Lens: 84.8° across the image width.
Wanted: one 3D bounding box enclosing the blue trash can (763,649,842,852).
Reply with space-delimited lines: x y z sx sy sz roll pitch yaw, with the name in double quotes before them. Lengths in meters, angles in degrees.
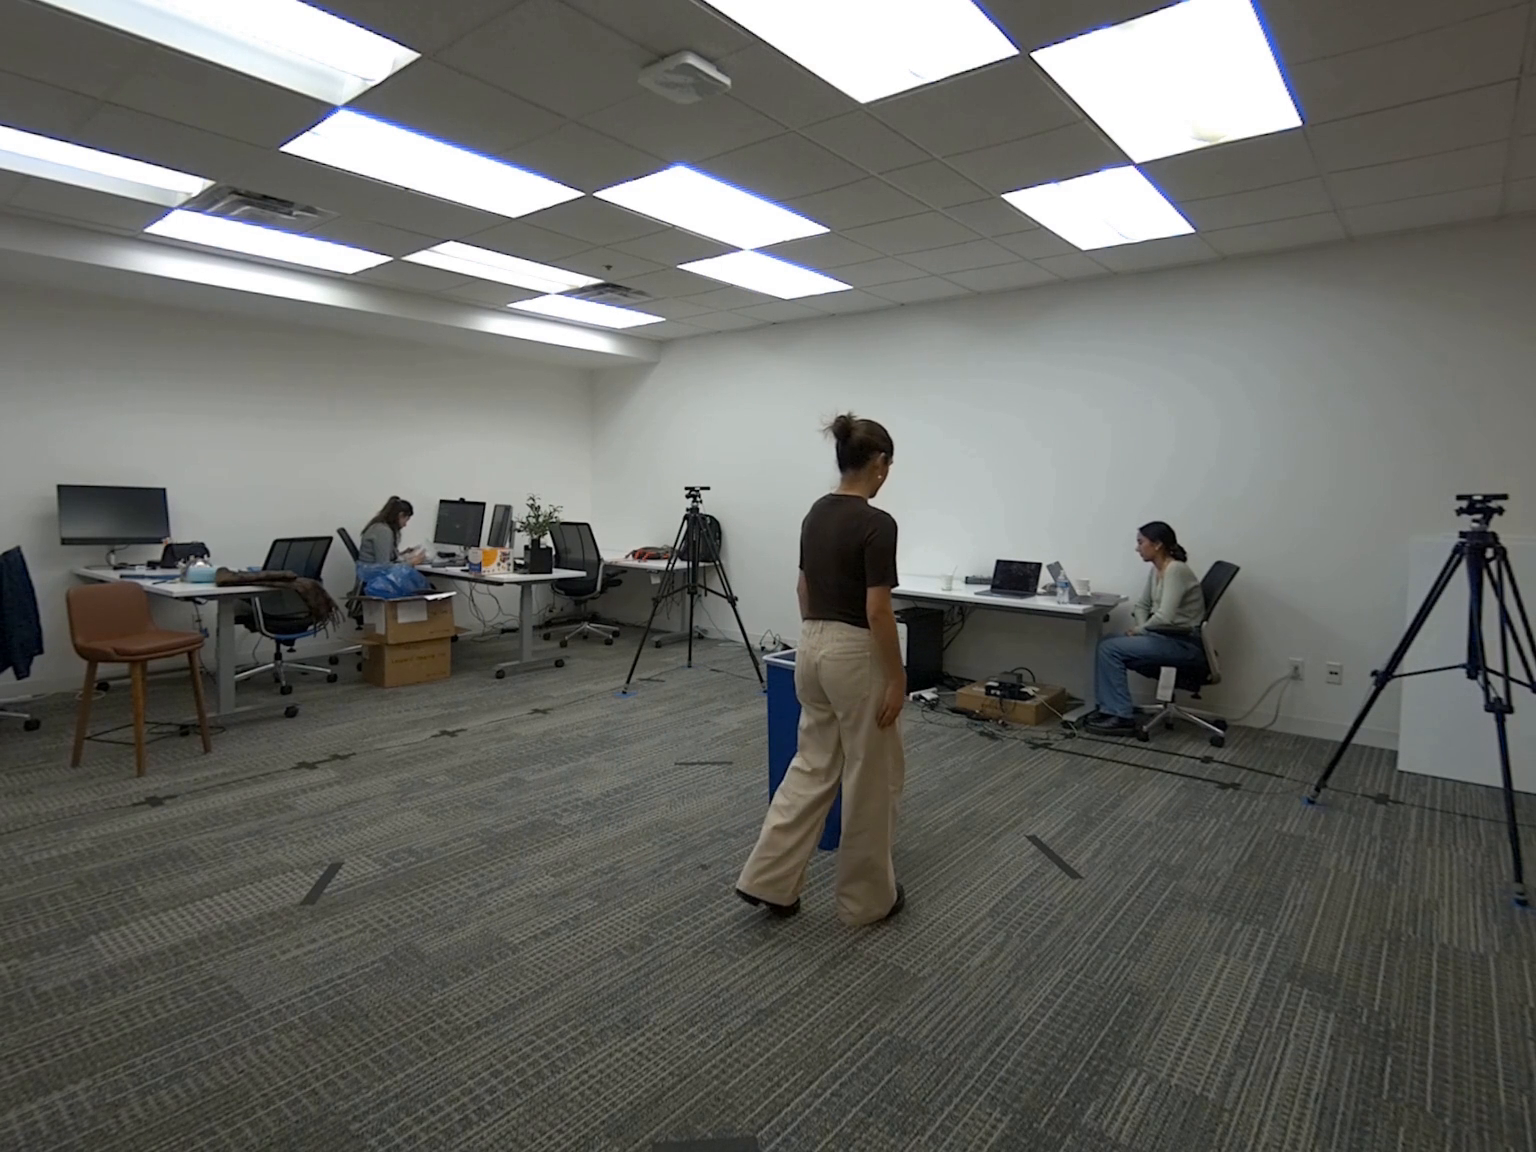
"blue trash can" 0.201 0.675 3.460 0.387 0.711 0.367 4 5 41
